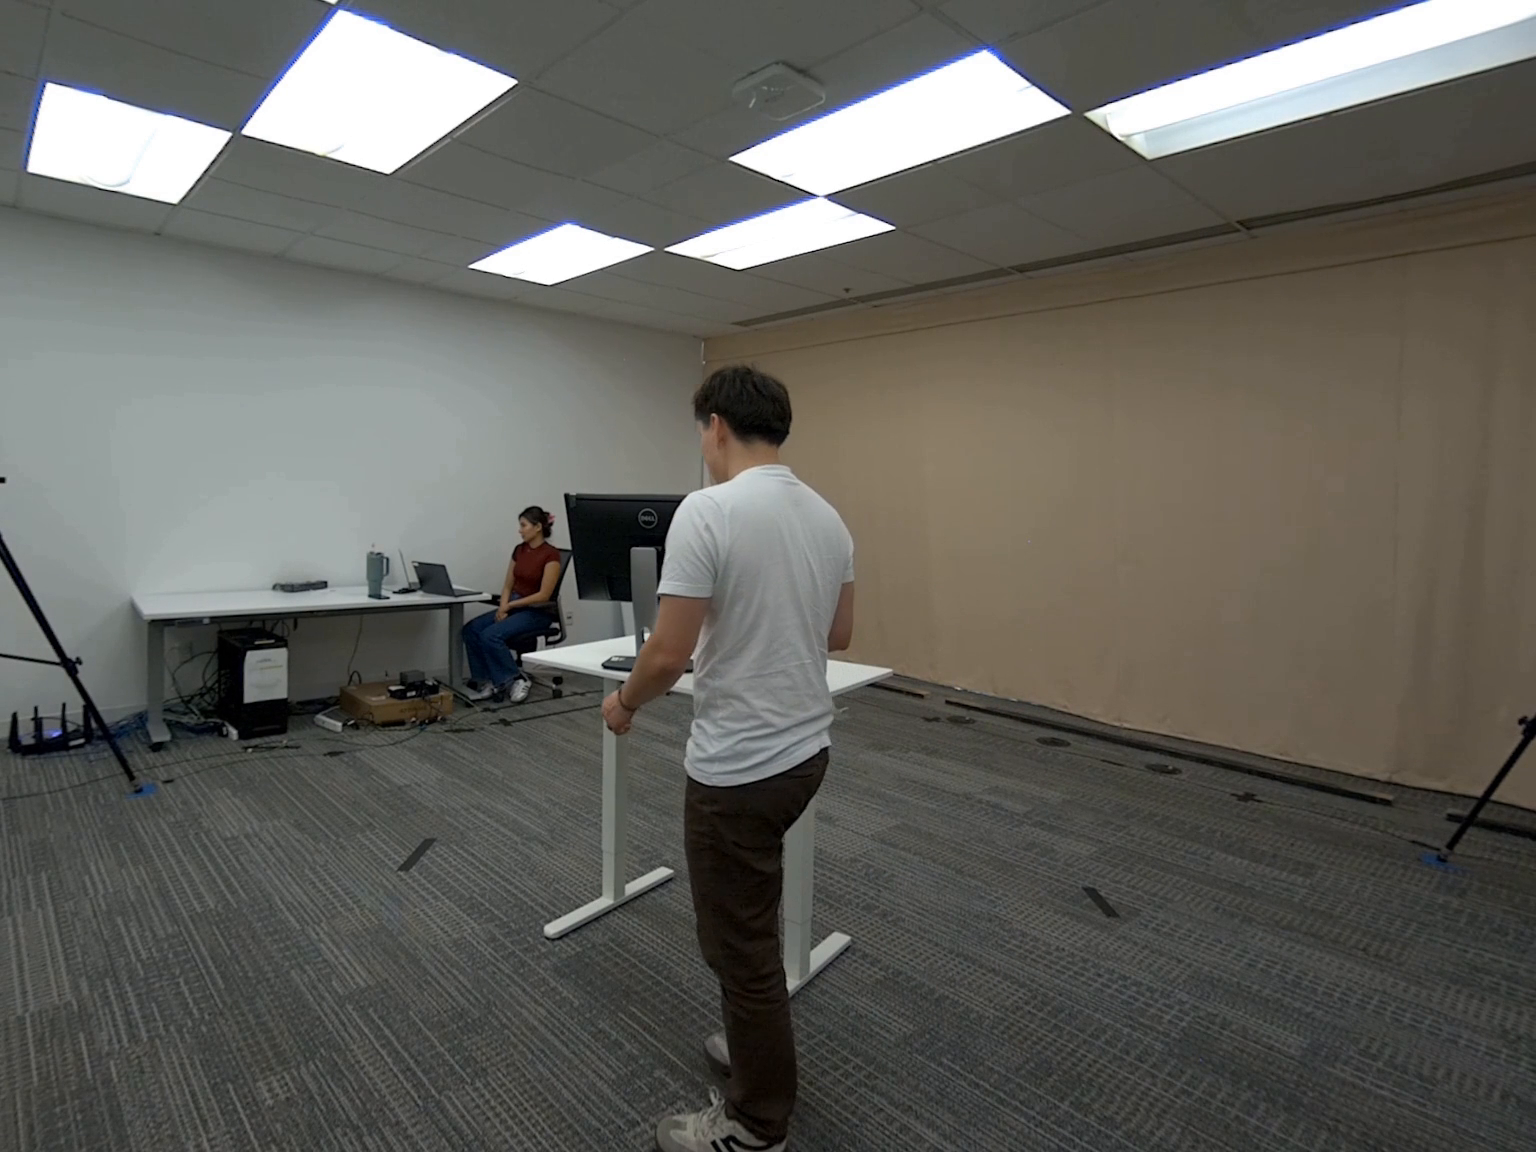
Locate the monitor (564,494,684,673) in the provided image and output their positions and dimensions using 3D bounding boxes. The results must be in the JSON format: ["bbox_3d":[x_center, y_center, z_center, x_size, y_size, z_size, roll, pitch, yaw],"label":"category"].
[{"bbox_3d":[-0.347,0.023,2.475,0.544,0.520,0.186,2,7,10],"label":"monitor"}]
